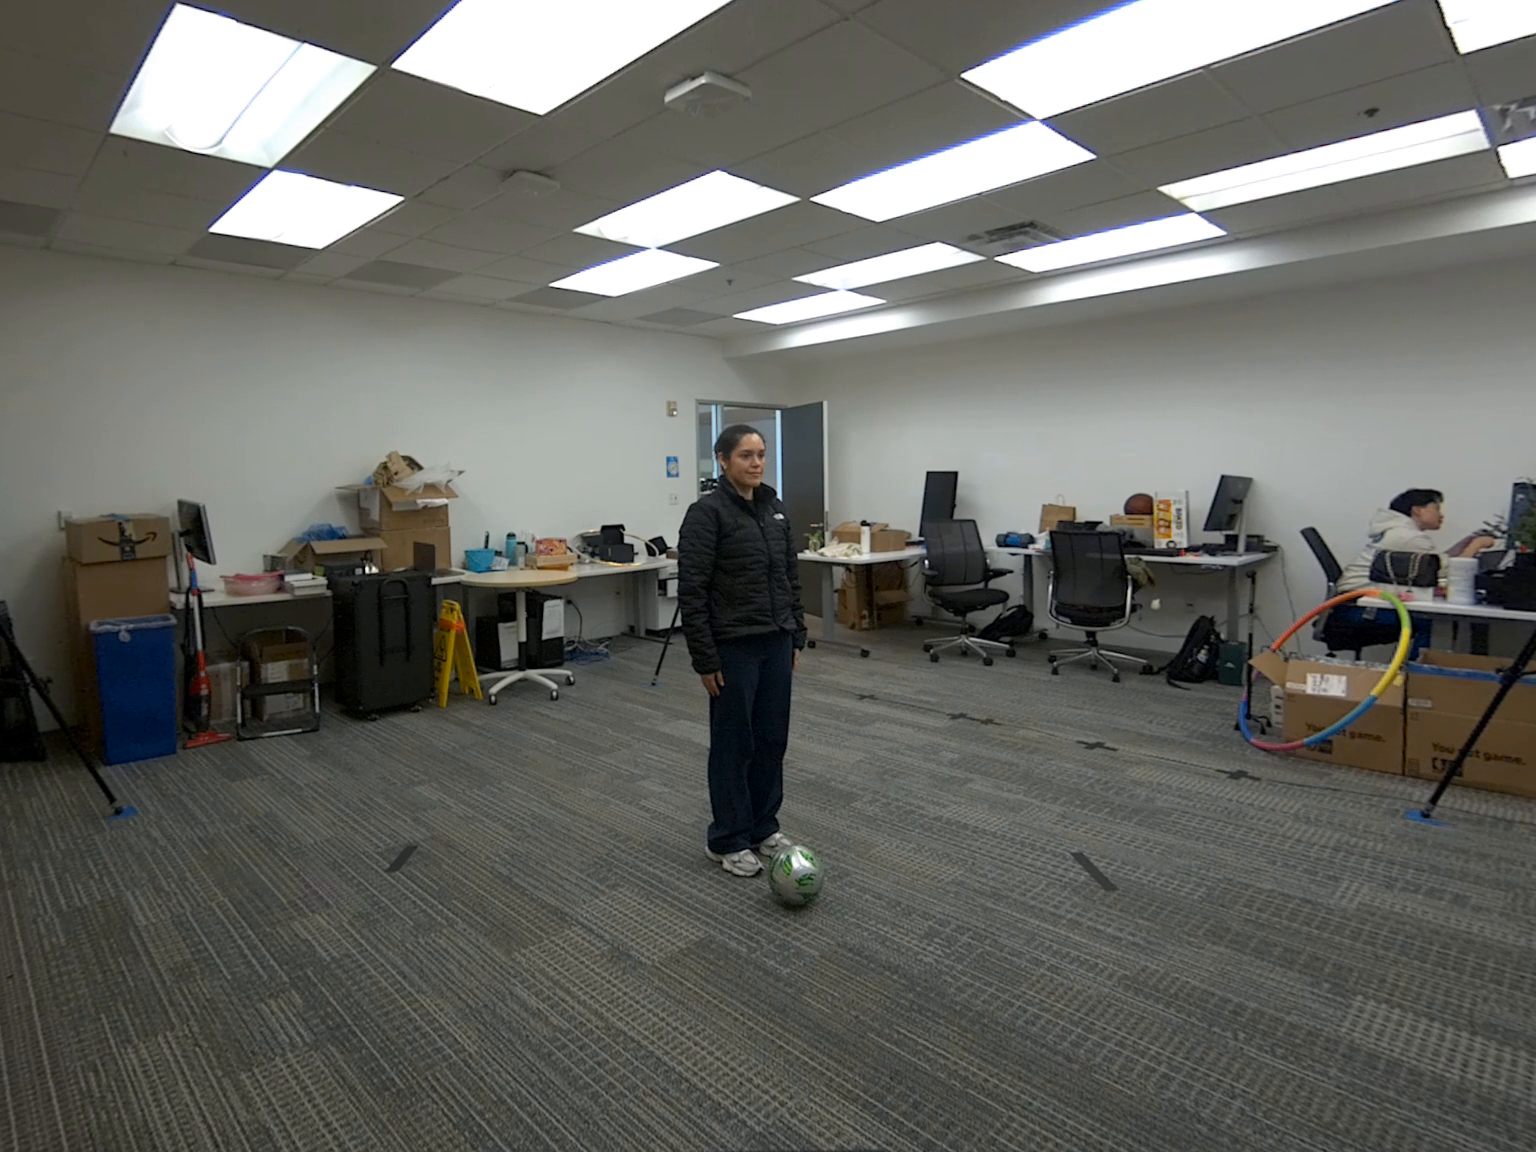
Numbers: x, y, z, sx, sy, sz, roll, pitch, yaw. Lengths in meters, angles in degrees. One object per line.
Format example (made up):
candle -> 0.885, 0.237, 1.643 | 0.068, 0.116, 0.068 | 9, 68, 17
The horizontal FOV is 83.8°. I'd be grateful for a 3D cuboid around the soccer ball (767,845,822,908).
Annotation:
soccer ball -> 0.093, 0.978, 2.808 | 0.187, 0.187, 0.188 | -1, 5, -2
